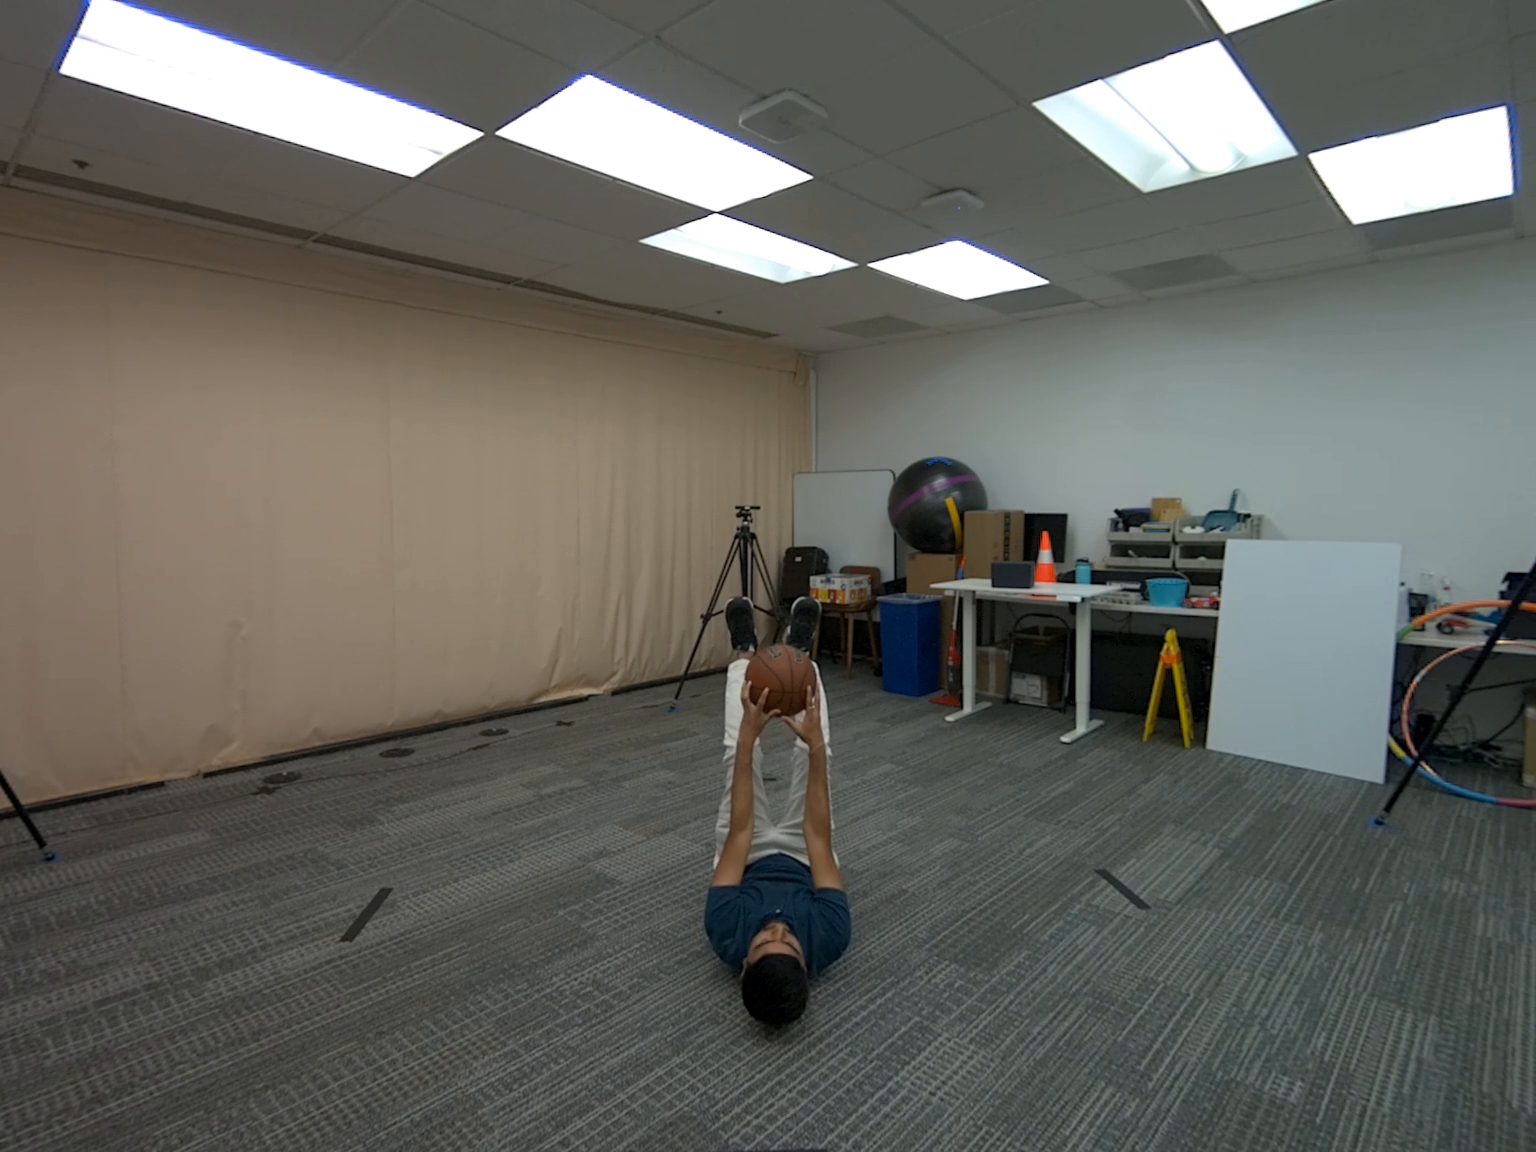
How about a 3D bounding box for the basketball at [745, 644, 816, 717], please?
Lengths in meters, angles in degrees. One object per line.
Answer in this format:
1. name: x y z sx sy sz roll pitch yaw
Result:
1. basketball: 0.039 0.344 2.754 0.236 0.235 0.237 0 4 -2
